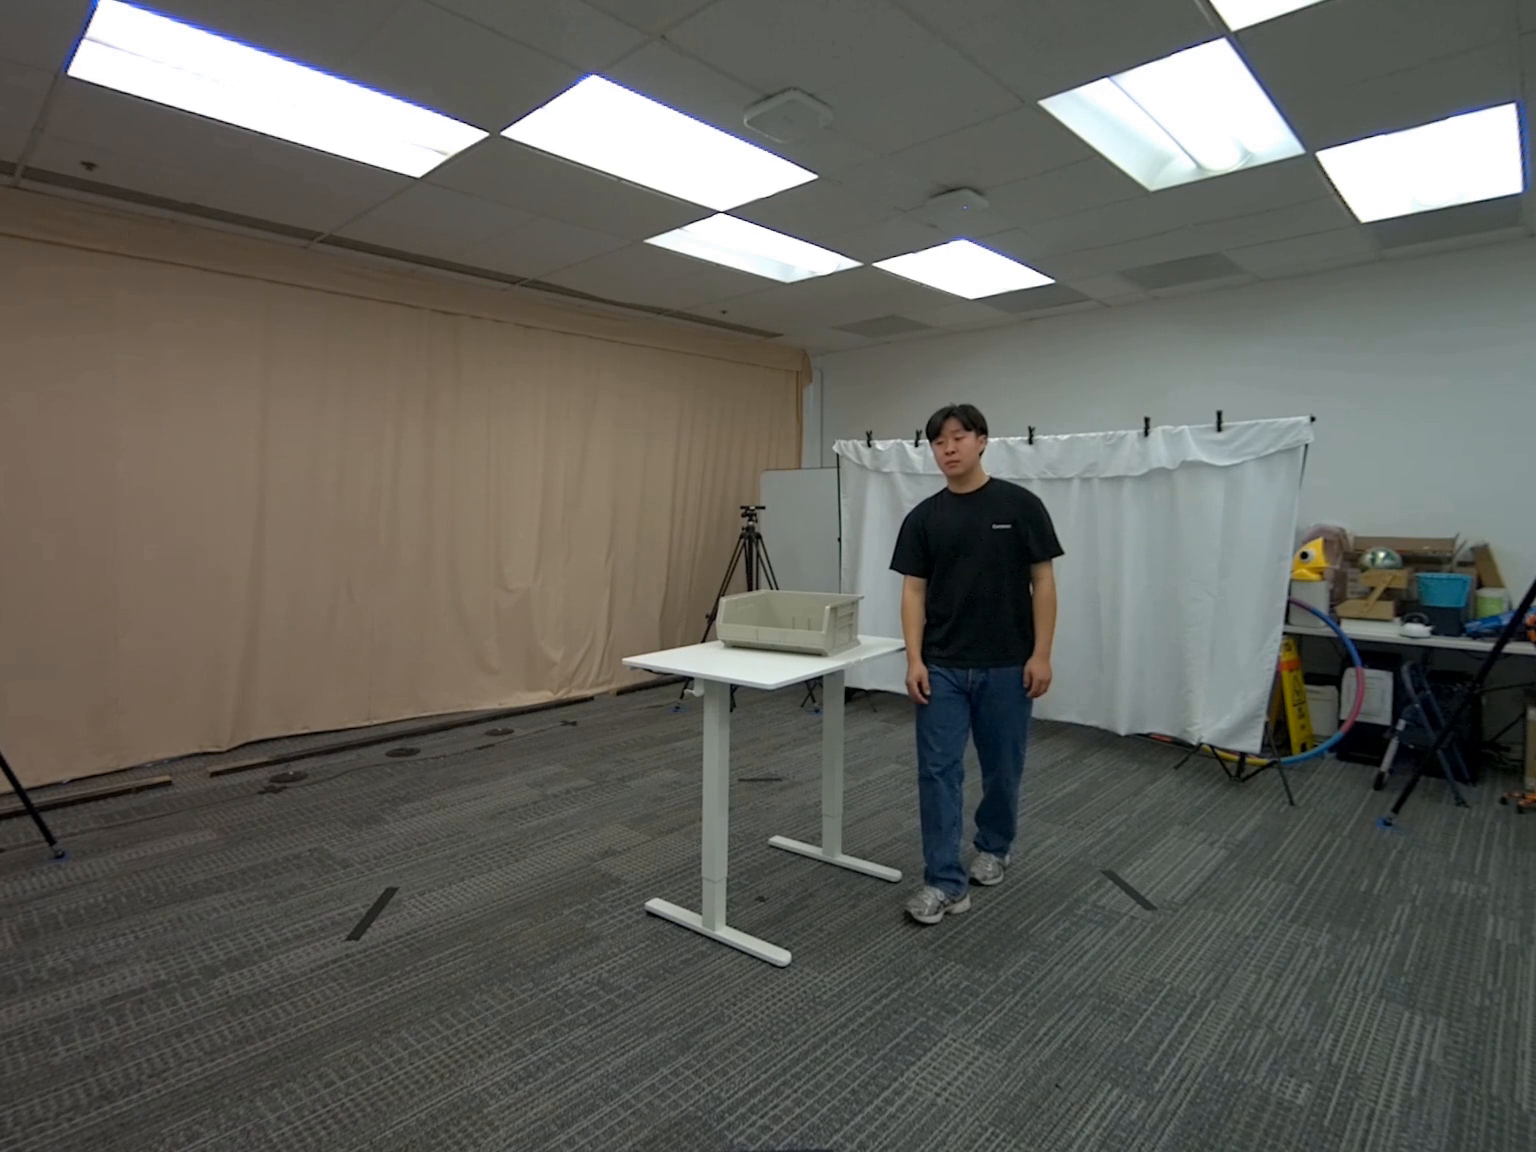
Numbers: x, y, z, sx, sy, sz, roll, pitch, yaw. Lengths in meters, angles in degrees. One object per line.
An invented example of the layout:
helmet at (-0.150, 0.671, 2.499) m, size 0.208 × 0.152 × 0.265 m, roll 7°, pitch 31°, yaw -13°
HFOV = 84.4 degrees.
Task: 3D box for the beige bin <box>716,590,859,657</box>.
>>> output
beige bin at (0.086, 0.171, 3.050) m, size 0.434 × 0.189 × 0.367 m, roll 2°, pitch 3°, yaw 28°
